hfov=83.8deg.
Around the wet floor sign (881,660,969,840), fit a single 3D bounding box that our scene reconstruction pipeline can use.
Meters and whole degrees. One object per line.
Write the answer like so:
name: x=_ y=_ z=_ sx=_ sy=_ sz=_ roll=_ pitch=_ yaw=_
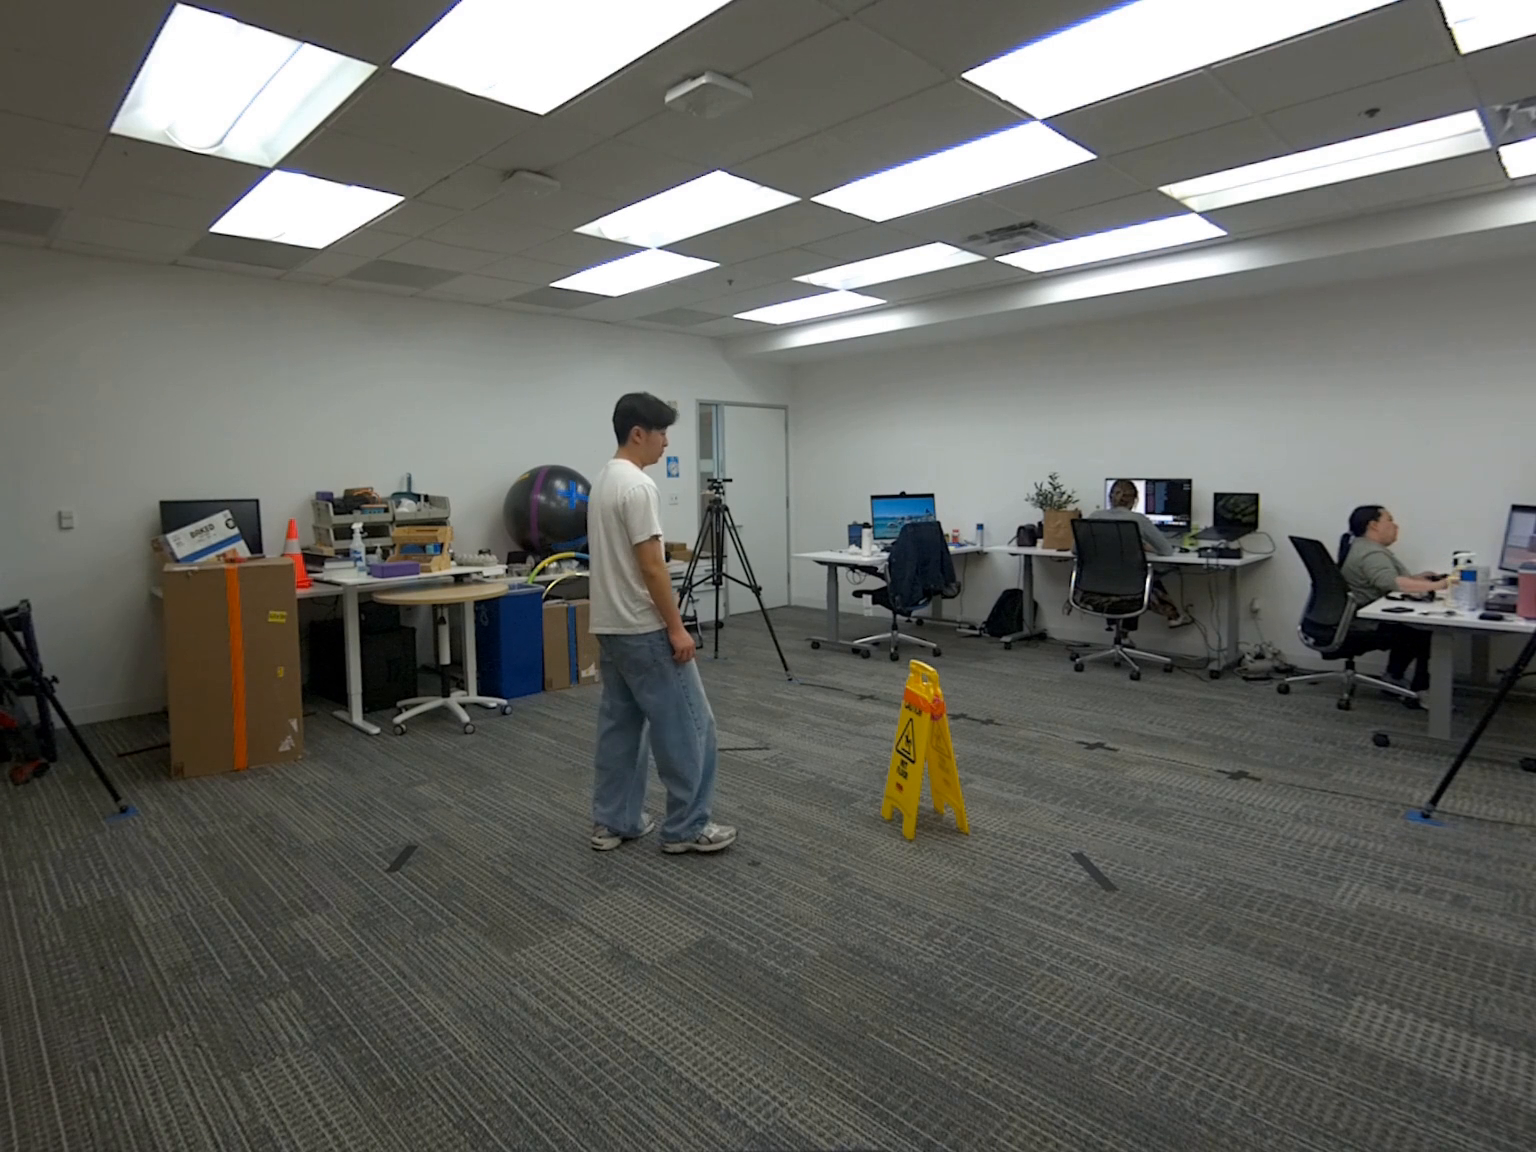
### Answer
wet floor sign: x=0.625 y=0.680 z=3.397 sx=0.286 sy=0.643 sz=0.287 roll=-2 pitch=4 yaw=-14
